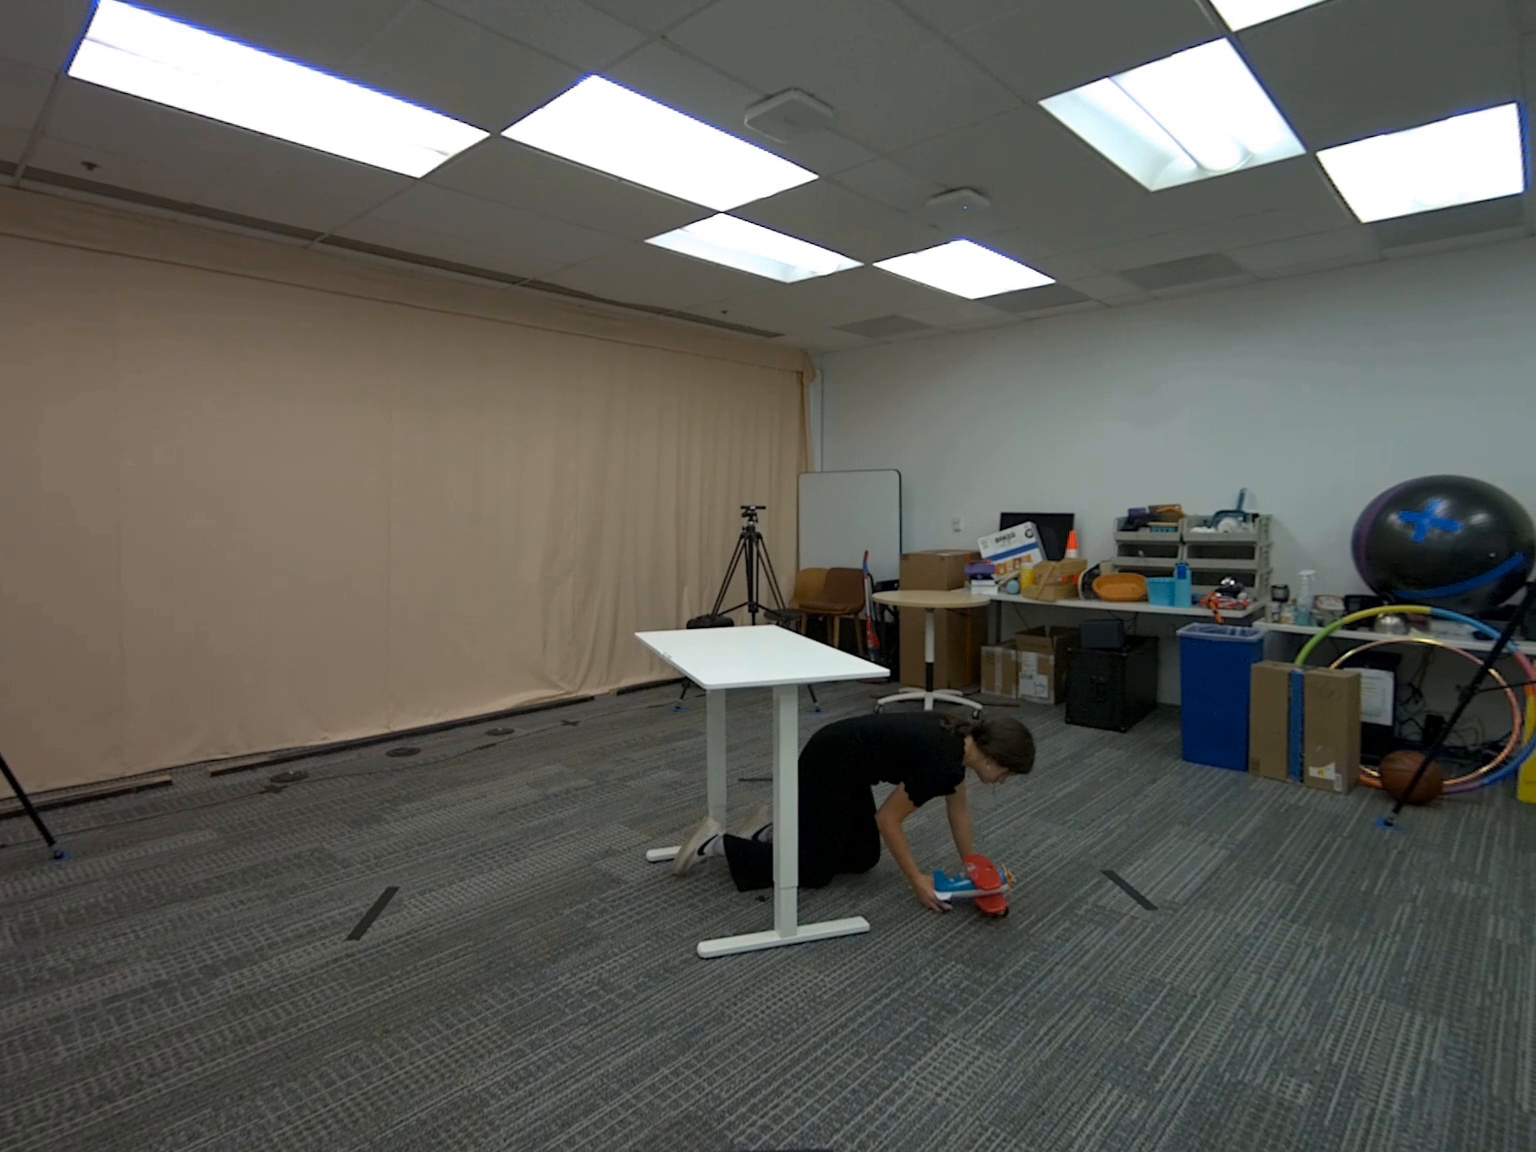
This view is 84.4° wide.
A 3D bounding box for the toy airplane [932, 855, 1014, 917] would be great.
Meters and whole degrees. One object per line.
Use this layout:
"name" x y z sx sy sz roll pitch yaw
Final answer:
"toy airplane" 0.711 1.075 2.858 0.252 0.156 0.258 2 3 -29
